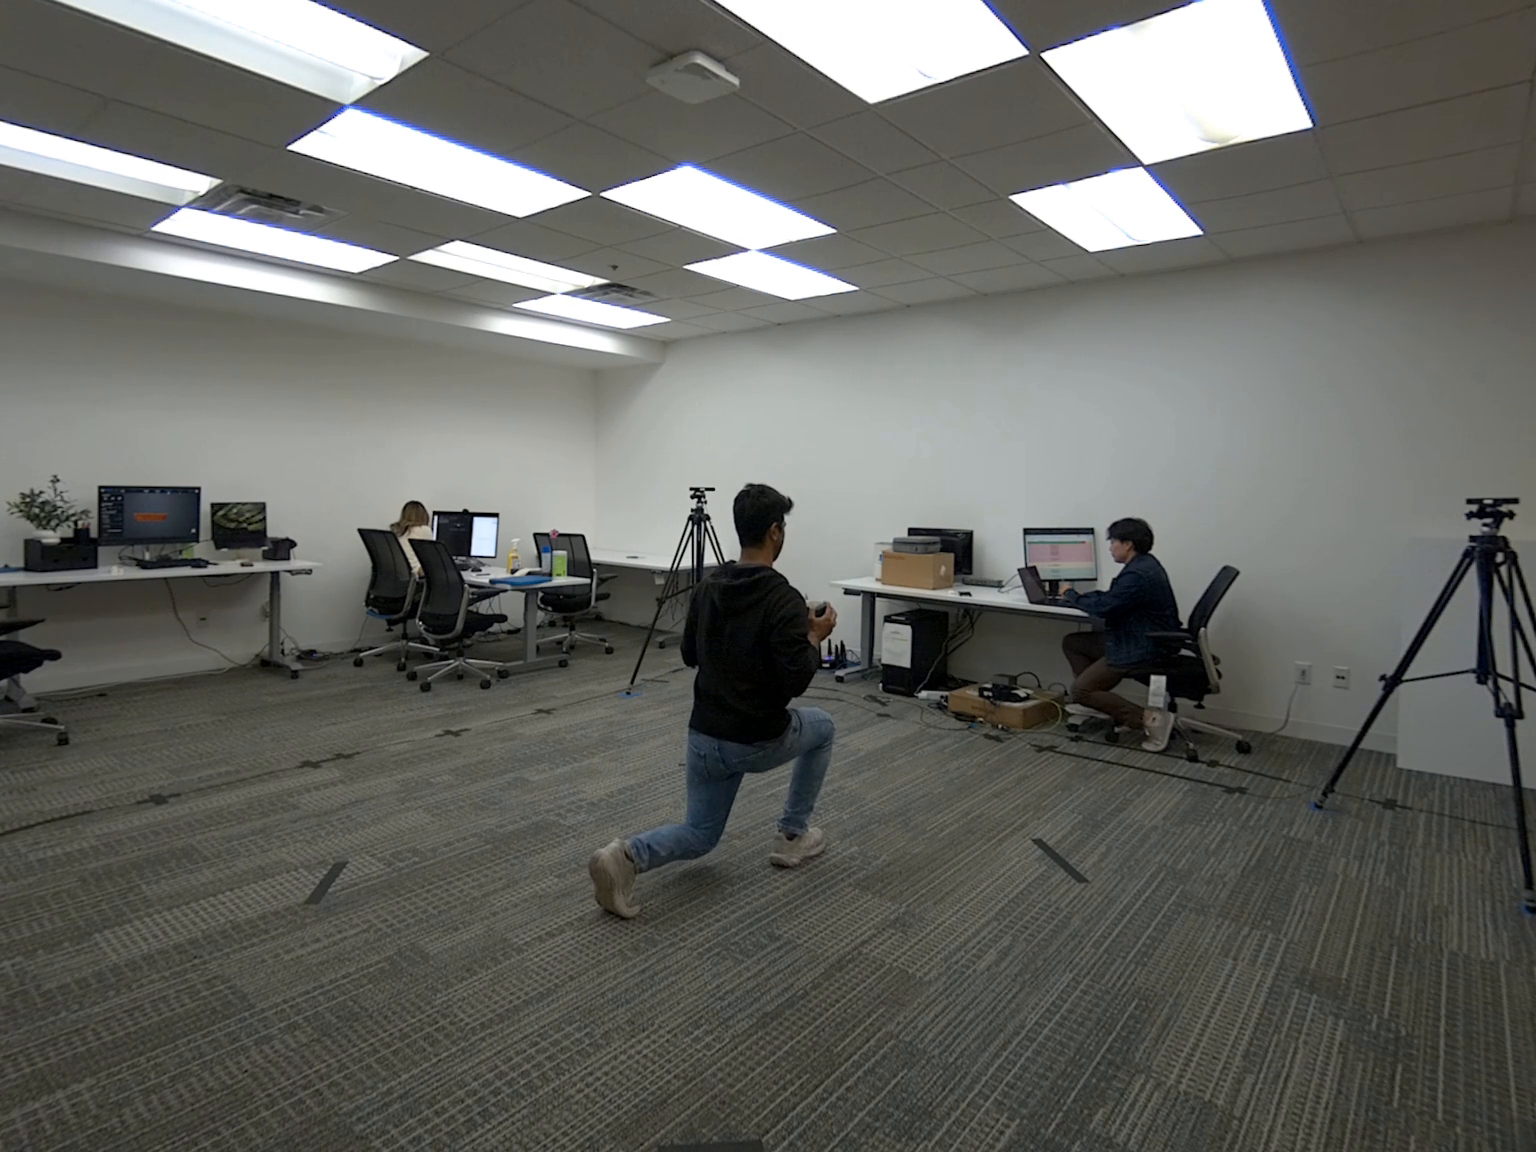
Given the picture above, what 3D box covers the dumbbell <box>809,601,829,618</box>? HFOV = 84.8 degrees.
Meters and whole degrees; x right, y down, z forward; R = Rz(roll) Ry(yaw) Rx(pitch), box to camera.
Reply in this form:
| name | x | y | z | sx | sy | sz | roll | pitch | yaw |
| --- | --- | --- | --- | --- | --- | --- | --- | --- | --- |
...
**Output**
| name | x | y | z | sx | sy | sz | roll | pitch | yaw |
| --- | --- | --- | --- | --- | --- | --- | --- | --- | --- |
| dumbbell | 0.083 | 0.140 | 3.197 | 0.104 | 0.123 | 0.304 | 22 | -9 | -40 |
